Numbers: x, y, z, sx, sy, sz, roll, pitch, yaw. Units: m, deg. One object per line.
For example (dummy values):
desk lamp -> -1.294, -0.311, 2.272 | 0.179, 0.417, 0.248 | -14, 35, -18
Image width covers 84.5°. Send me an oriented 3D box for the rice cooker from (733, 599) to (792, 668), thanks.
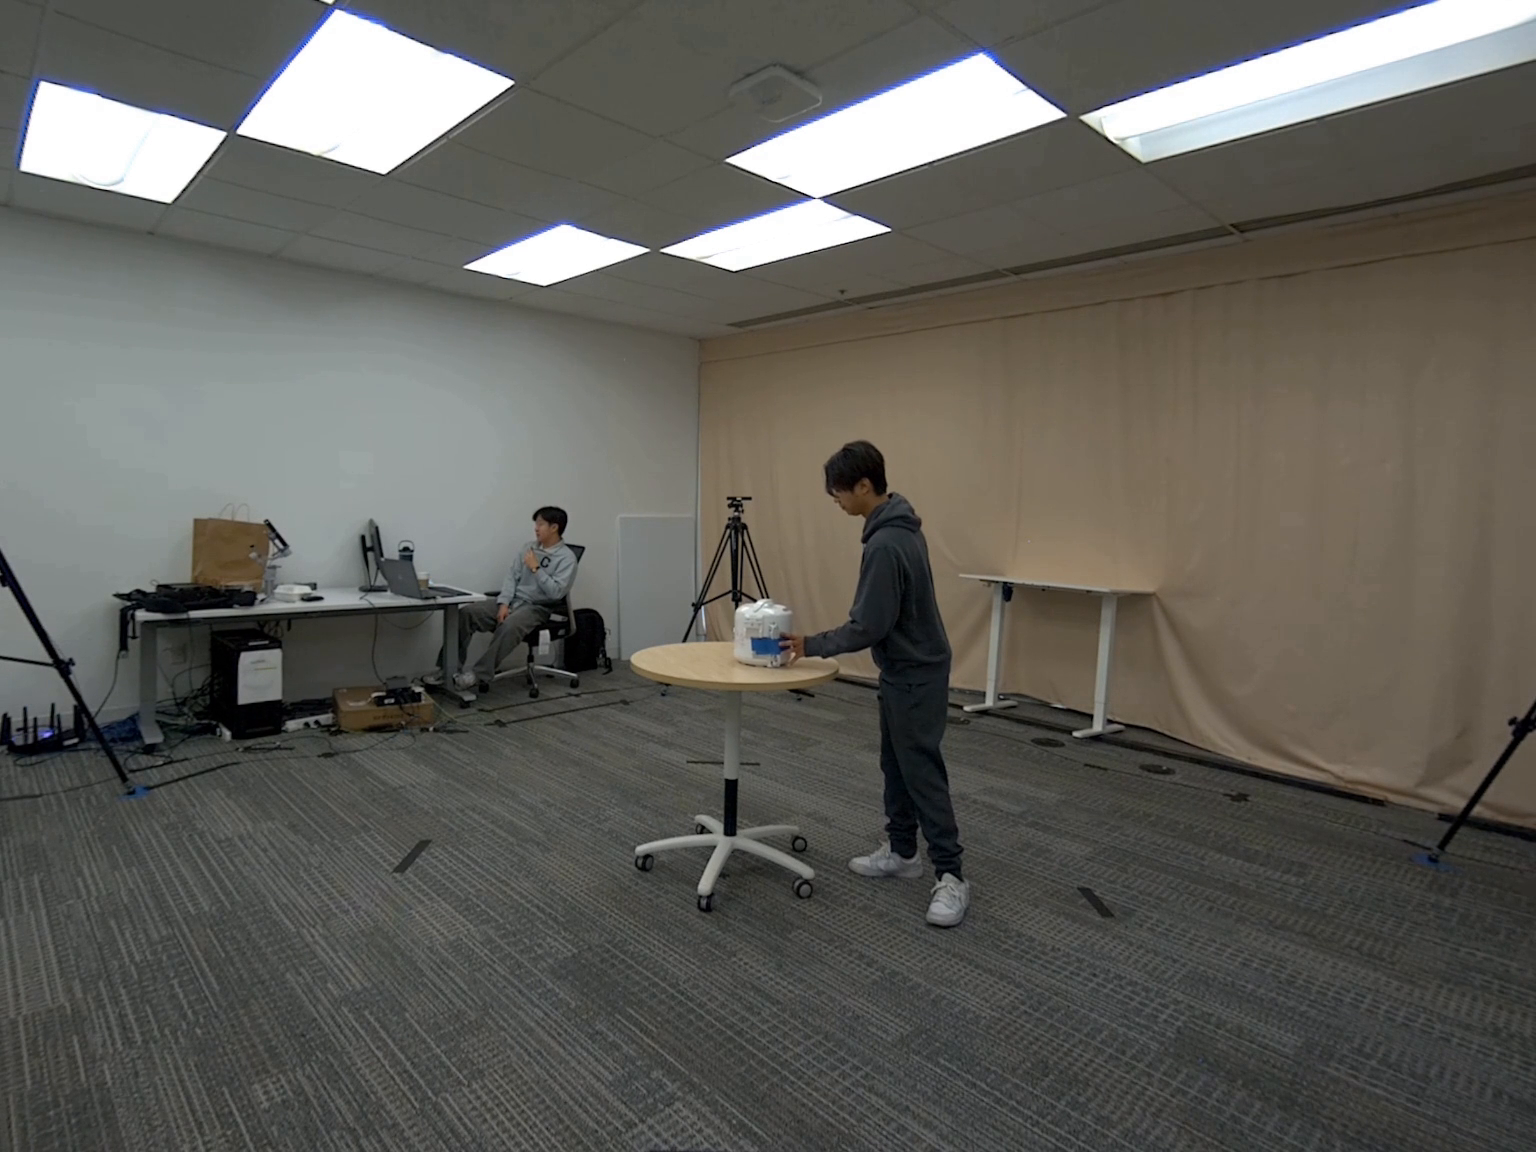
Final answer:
rice cooker -> -0.020, 0.200, 3.063 | 0.221, 0.232, 0.217 | 4, 4, 23
